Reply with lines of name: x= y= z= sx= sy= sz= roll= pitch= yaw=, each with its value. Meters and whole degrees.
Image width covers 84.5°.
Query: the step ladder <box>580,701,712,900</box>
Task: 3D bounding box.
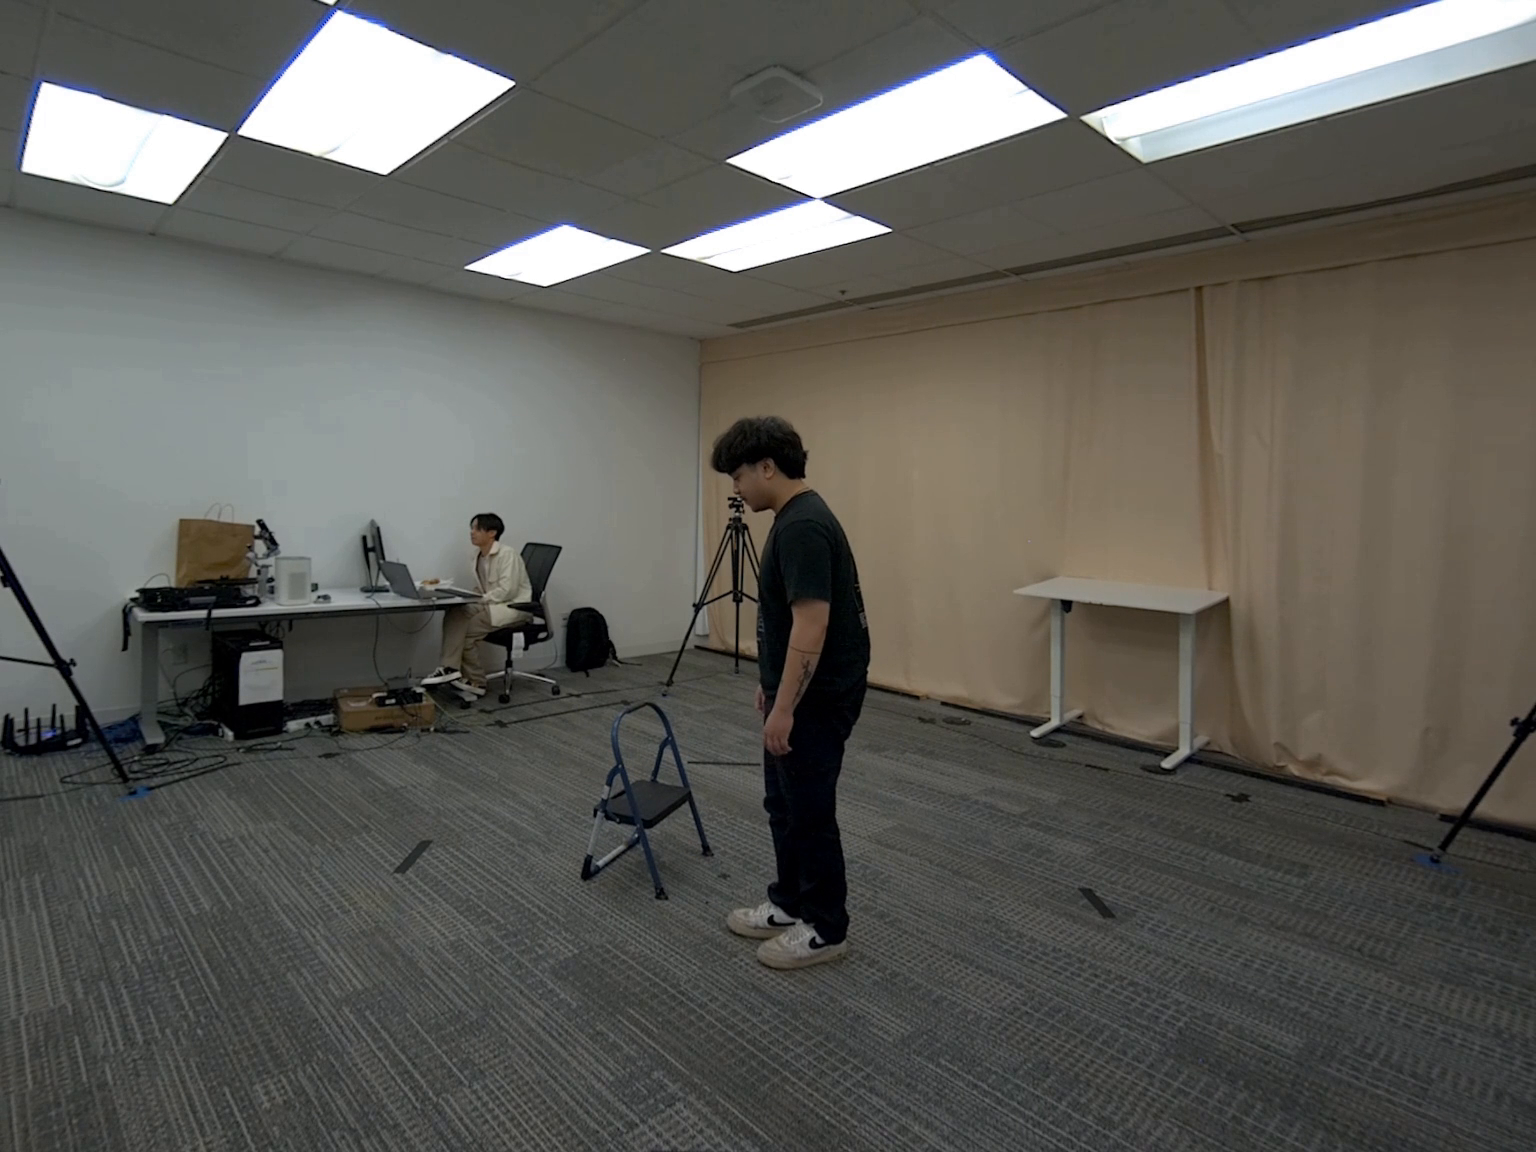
step ladder: x=-0.445 y=0.793 z=3.151 sx=0.355 sy=0.604 sz=0.424 roll=3 pitch=4 yaw=21
